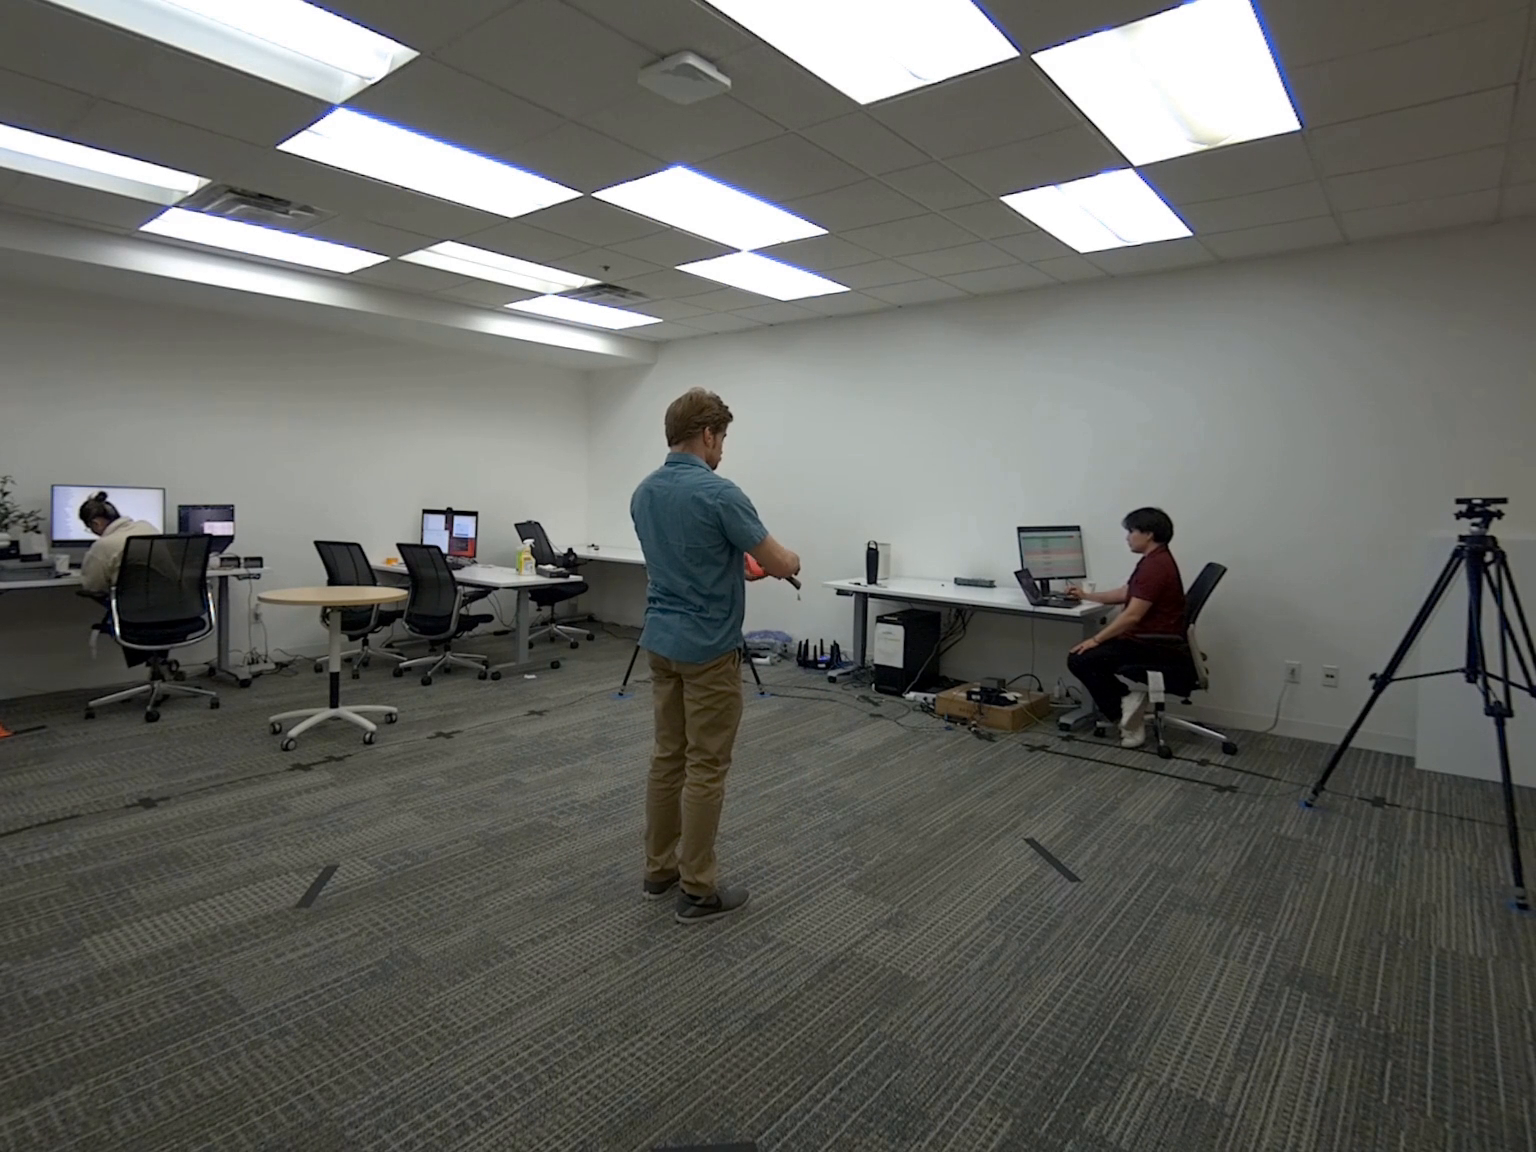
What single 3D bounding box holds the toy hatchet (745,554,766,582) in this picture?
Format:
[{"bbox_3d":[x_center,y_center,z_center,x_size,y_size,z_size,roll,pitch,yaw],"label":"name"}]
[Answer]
[{"bbox_3d":[0.000,-0.002,3.054,0.265,0.029,0.134,33,24,-13],"label":"toy hatchet"}]
